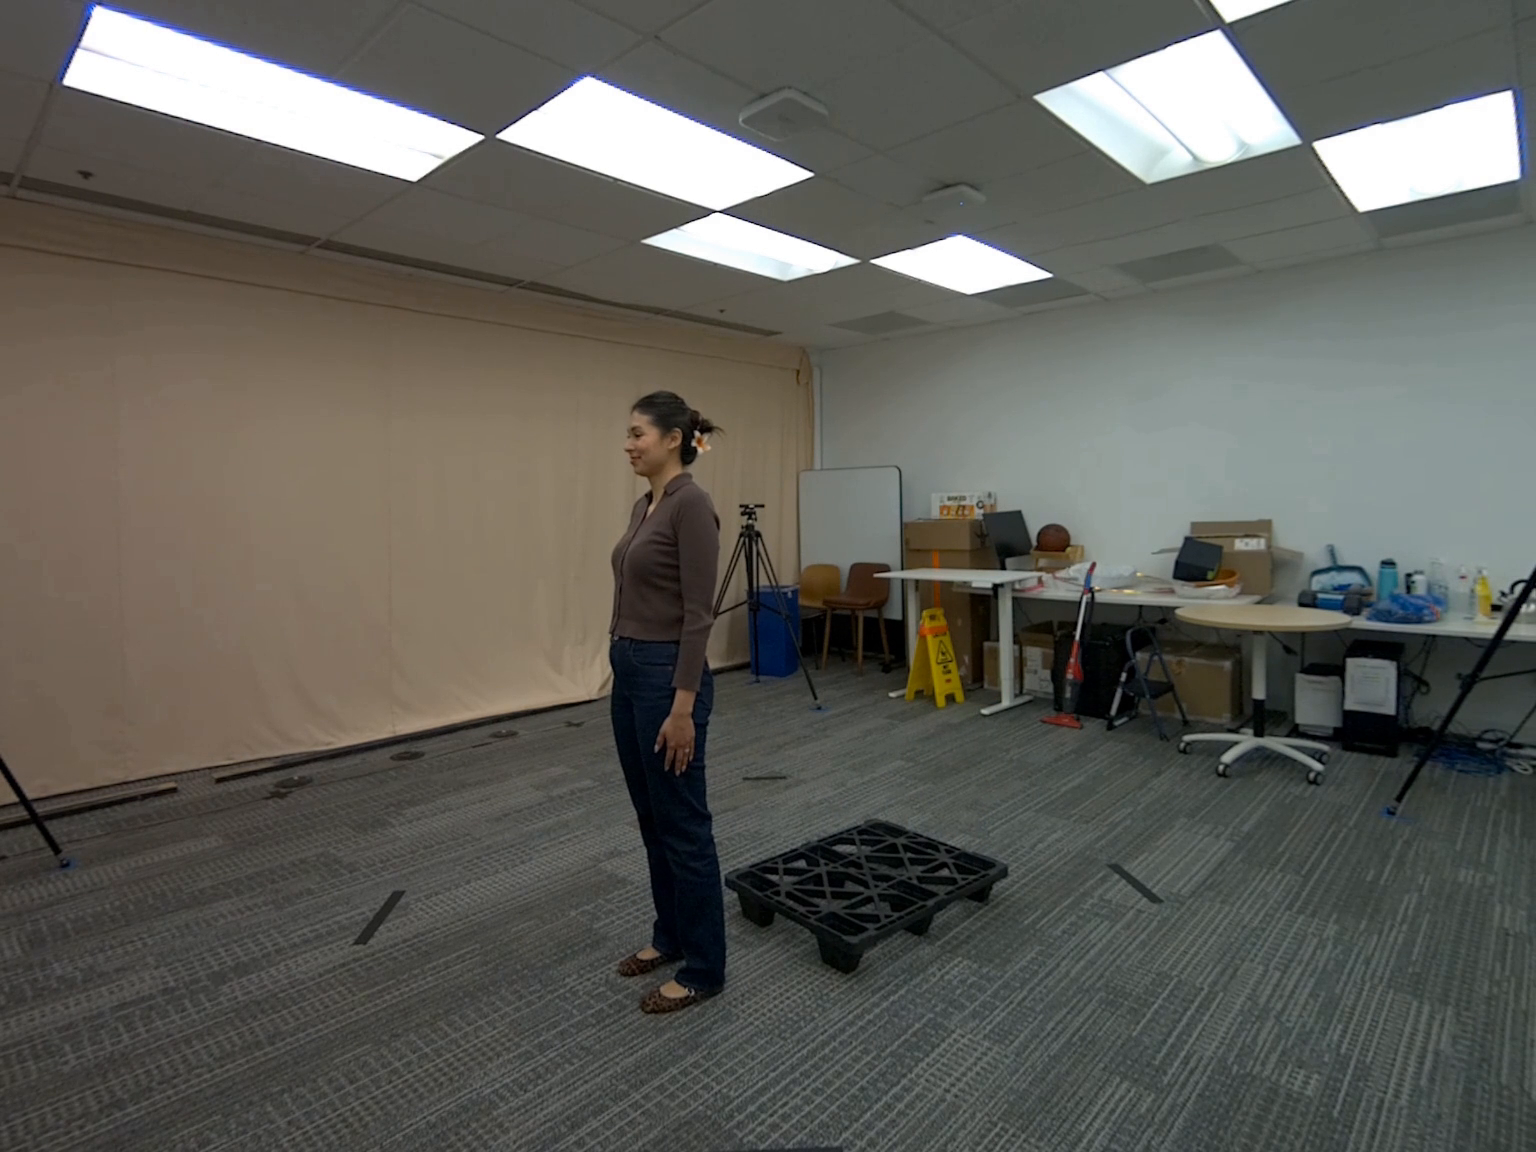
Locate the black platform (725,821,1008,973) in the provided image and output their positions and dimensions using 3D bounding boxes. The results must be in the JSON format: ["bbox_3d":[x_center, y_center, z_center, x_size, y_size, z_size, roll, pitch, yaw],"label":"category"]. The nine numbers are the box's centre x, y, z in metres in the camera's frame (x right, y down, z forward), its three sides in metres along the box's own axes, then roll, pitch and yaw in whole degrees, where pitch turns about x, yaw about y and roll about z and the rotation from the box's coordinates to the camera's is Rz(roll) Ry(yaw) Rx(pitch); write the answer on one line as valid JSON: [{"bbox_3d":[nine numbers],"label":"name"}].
[{"bbox_3d":[0.340,1.076,2.890,0.781,0.143,0.625,-5,6,-40],"label":"black platform"}]
